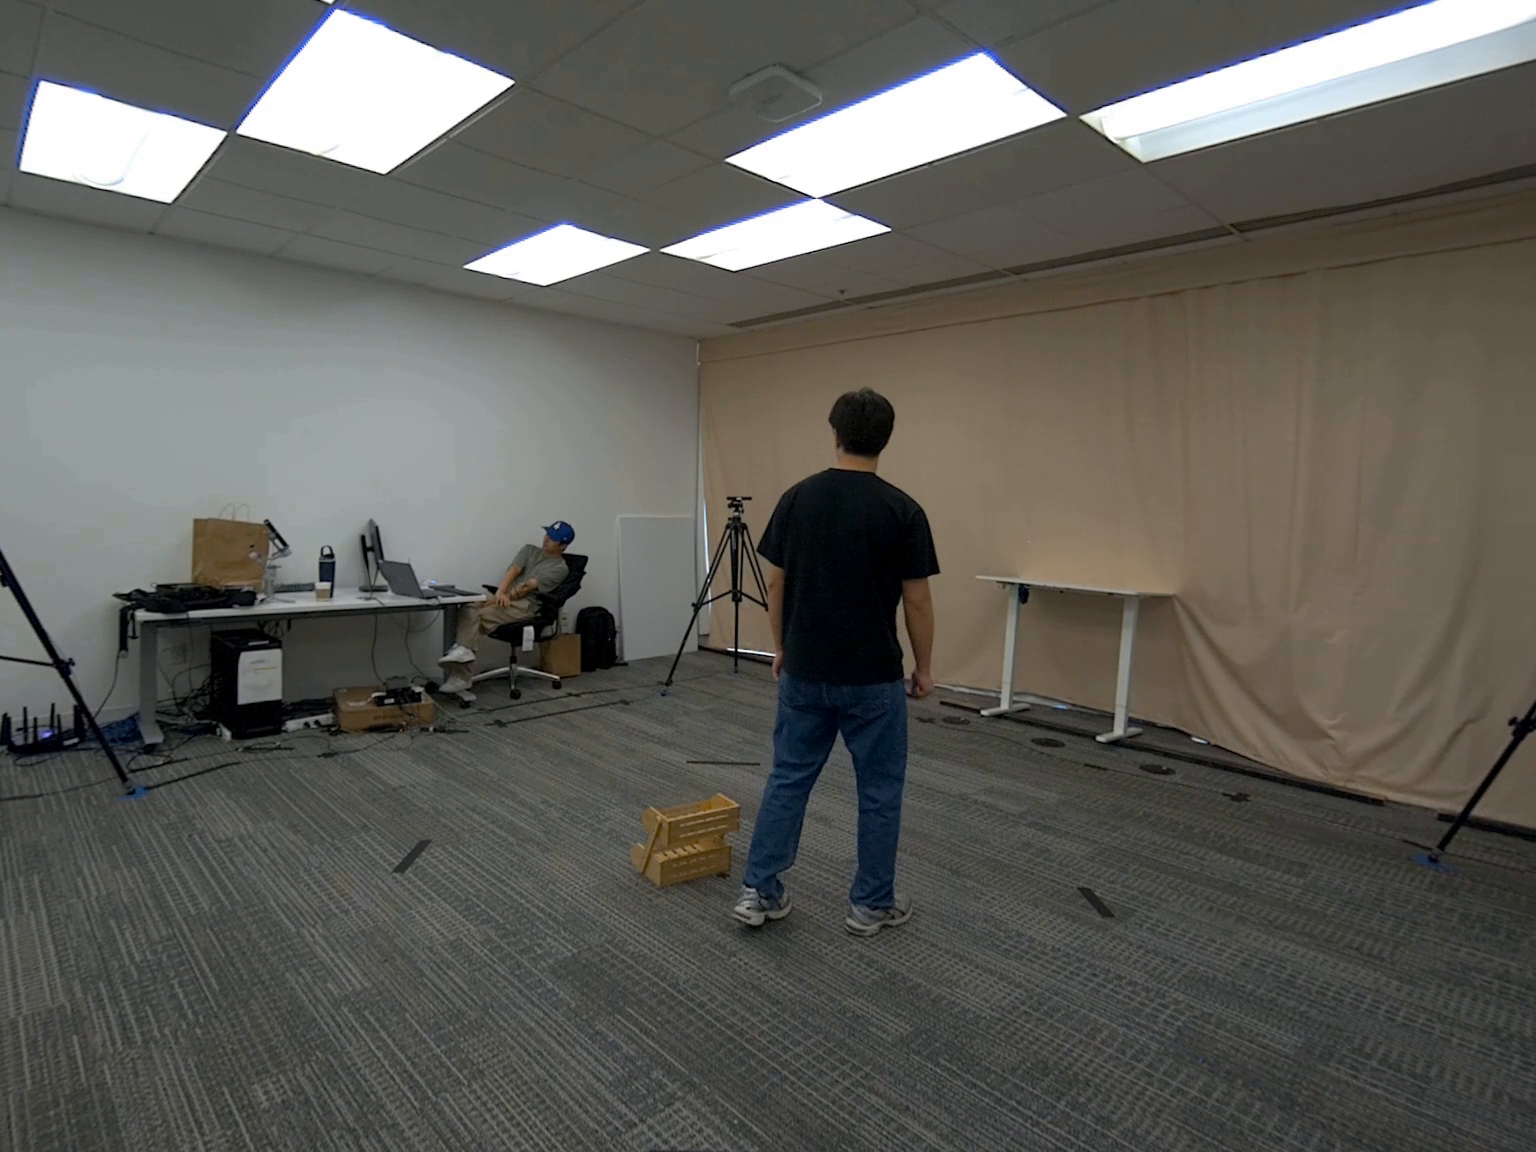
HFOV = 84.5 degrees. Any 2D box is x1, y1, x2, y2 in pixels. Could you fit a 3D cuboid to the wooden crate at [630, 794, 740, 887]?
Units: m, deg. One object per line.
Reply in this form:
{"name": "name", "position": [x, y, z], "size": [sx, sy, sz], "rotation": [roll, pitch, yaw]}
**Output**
{"name": "wooden crate", "position": [-0.321, 0.965, 3.155], "size": [0.317, 0.272, 0.309], "rotation": [-1, 6, -34]}
